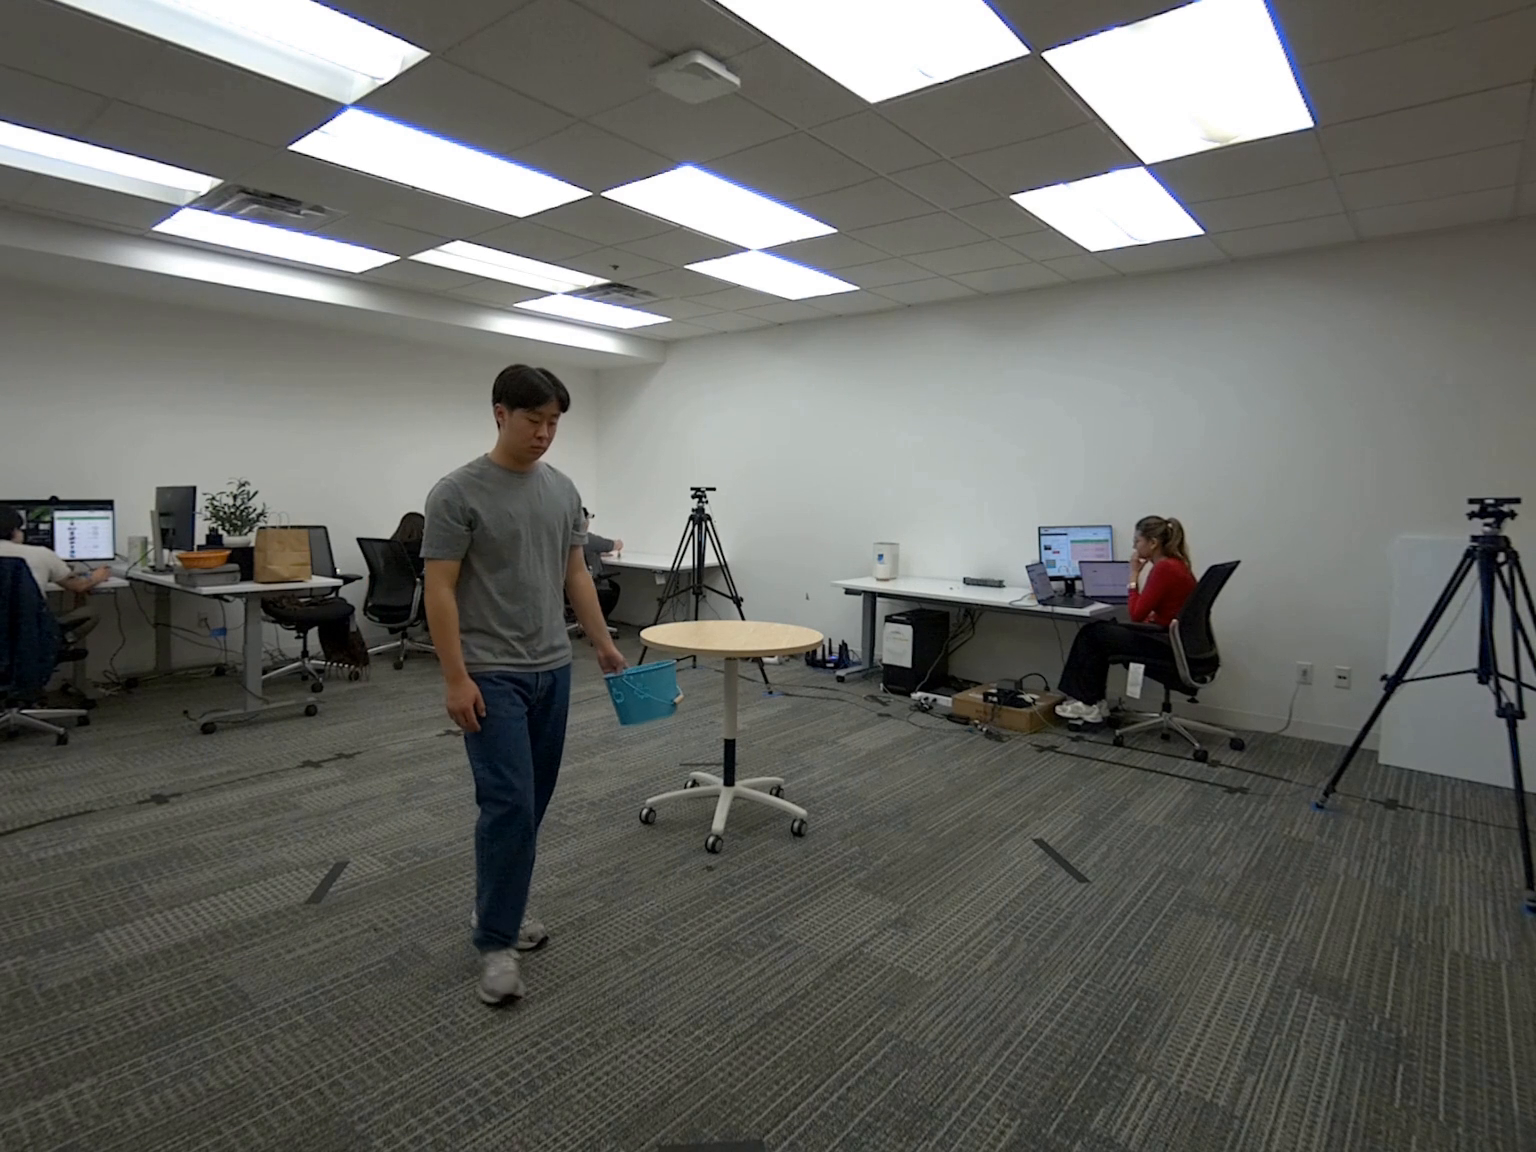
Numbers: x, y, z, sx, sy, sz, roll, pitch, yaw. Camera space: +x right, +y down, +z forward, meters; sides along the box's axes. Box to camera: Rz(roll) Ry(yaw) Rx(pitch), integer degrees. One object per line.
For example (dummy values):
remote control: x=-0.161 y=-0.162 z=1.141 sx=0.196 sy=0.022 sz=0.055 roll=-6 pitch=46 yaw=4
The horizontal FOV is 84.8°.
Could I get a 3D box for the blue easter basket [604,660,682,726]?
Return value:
blue easter basket: x=-0.401 y=0.365 z=2.586 sx=0.243 sy=0.156 sz=0.244 roll=-12 pitch=1 yaw=-2
